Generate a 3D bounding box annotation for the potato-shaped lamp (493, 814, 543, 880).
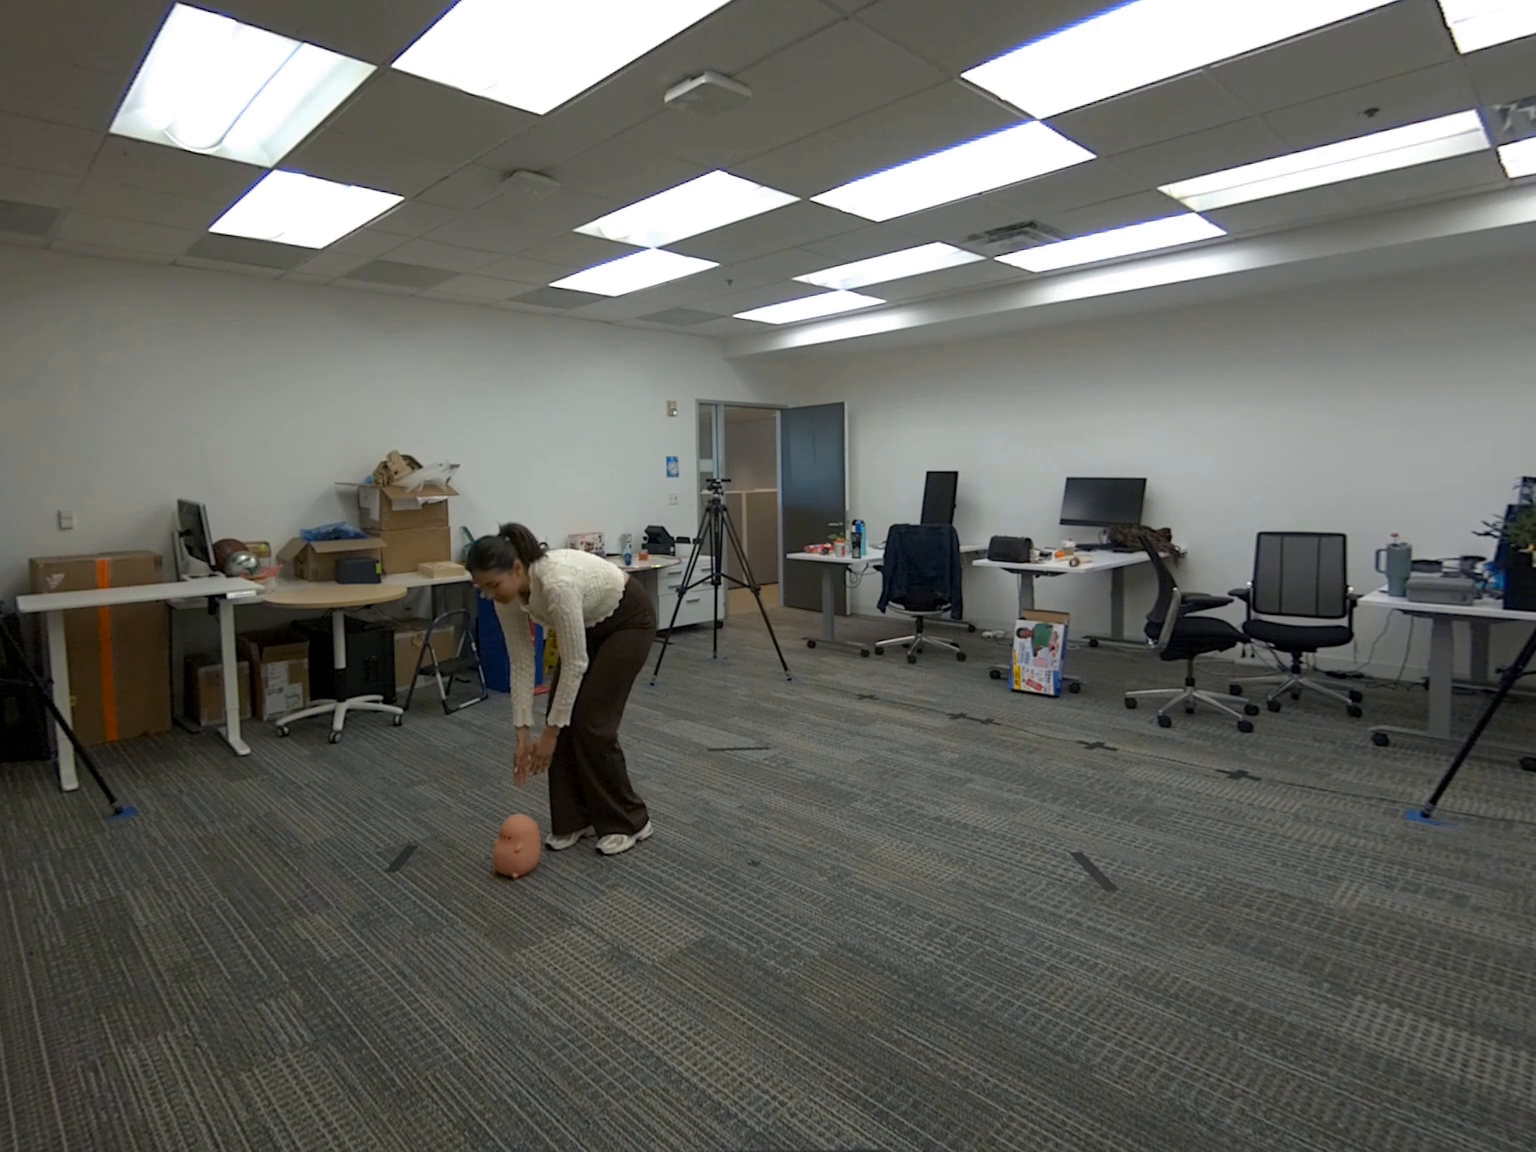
[{"bbox_3d":[-0.901,0.961,3.085,0.169,0.197,0.167,4,7,34],"label":"potato-shaped lamp"}]
